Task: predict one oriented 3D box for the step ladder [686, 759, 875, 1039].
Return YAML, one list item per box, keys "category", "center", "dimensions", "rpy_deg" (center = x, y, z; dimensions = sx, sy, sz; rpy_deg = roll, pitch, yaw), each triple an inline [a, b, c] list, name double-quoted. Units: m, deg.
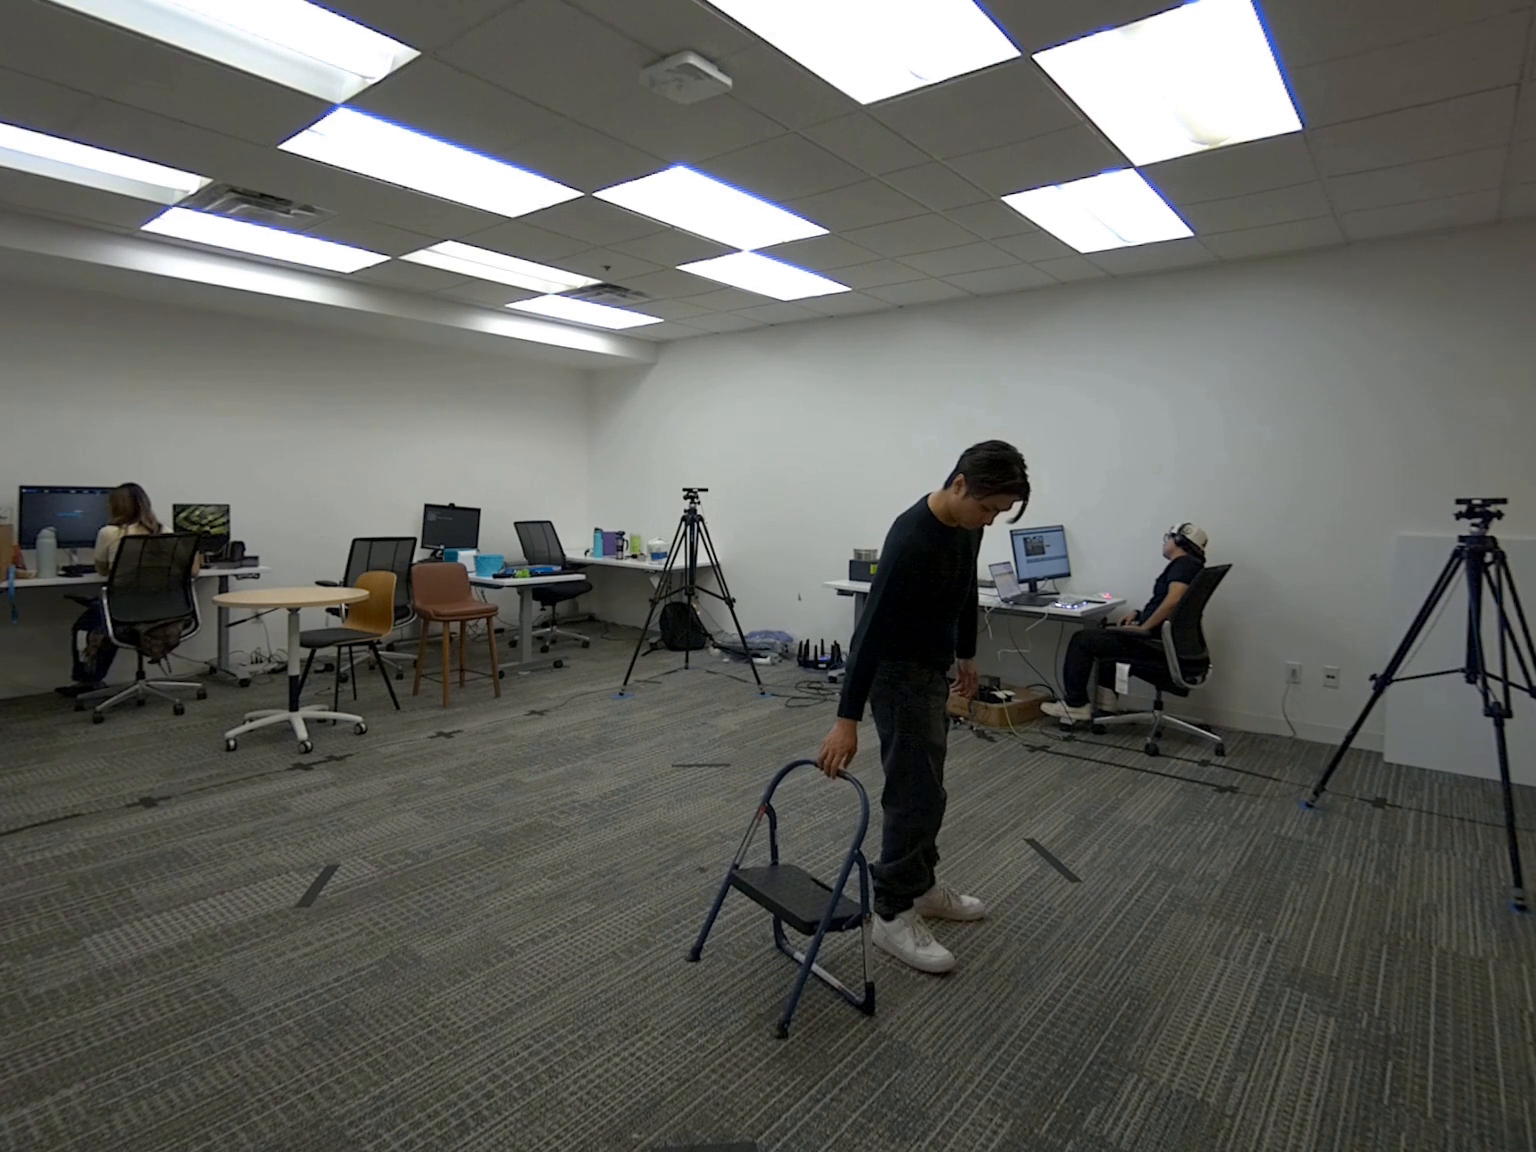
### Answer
- category: "step ladder"
  center: [0.071, 0.828, 2.349]
  dimensions: [0.337, 0.607, 0.445]
  rpy_deg: [10, -1, -36]
